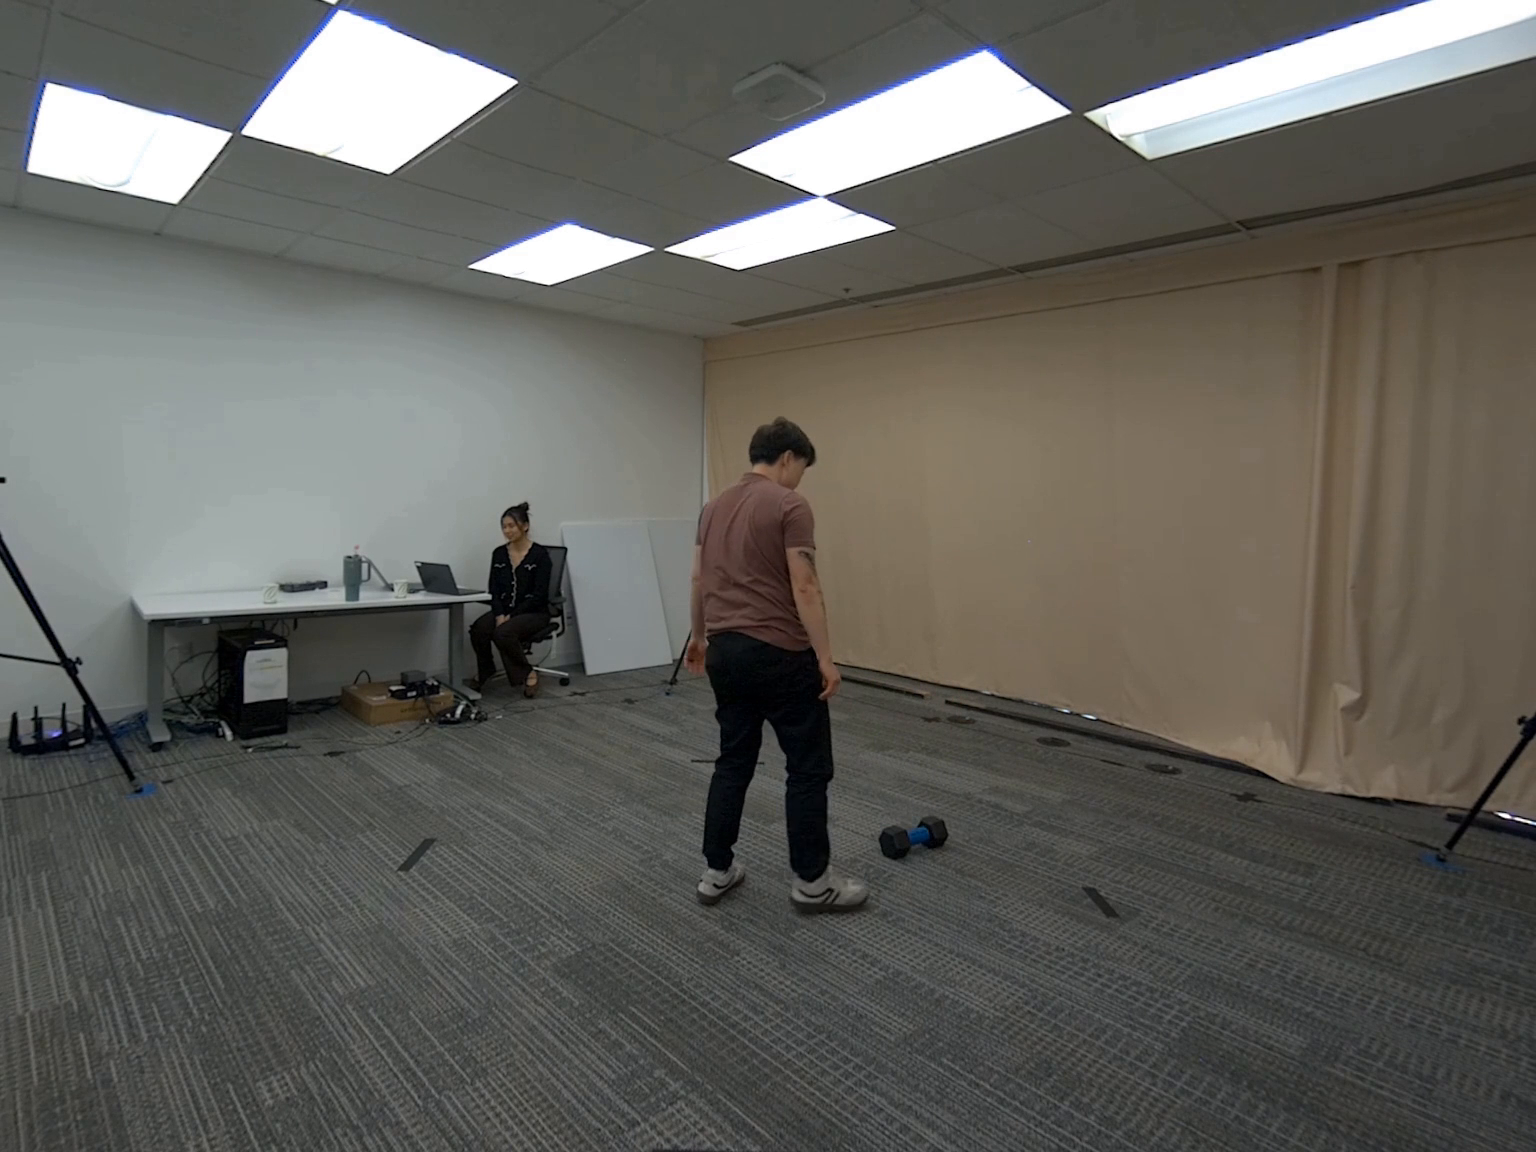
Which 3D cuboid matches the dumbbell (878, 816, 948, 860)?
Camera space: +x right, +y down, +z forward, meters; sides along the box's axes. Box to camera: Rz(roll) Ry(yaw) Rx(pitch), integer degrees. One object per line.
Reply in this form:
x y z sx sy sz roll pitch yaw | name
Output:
0.573 1.041 3.362 0.287 0.121 0.112 -2 36 -35 | dumbbell
